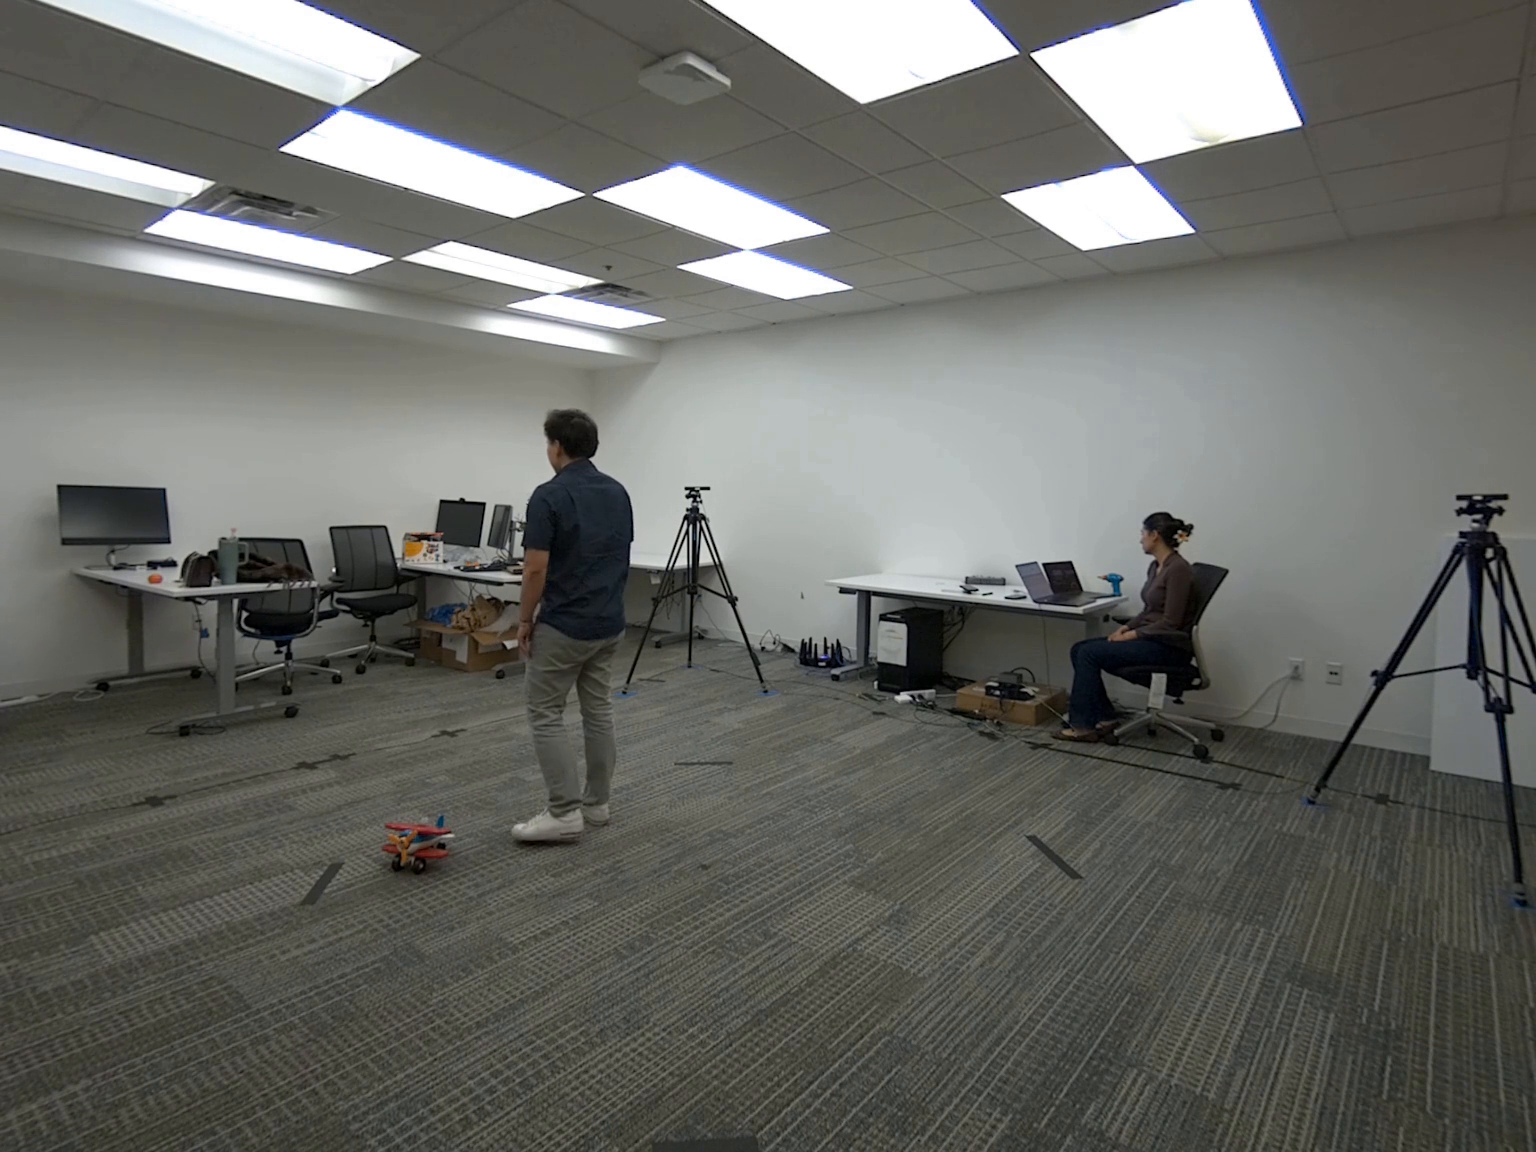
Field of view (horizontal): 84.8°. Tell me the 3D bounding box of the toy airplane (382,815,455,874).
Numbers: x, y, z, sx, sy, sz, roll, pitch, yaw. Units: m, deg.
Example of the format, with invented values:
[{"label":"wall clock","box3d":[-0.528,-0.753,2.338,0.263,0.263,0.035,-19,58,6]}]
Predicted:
[{"label":"toy airplane","box3d":[-1.305,0.977,3.131,0.247,0.156,0.264,-1,6,-15]}]
